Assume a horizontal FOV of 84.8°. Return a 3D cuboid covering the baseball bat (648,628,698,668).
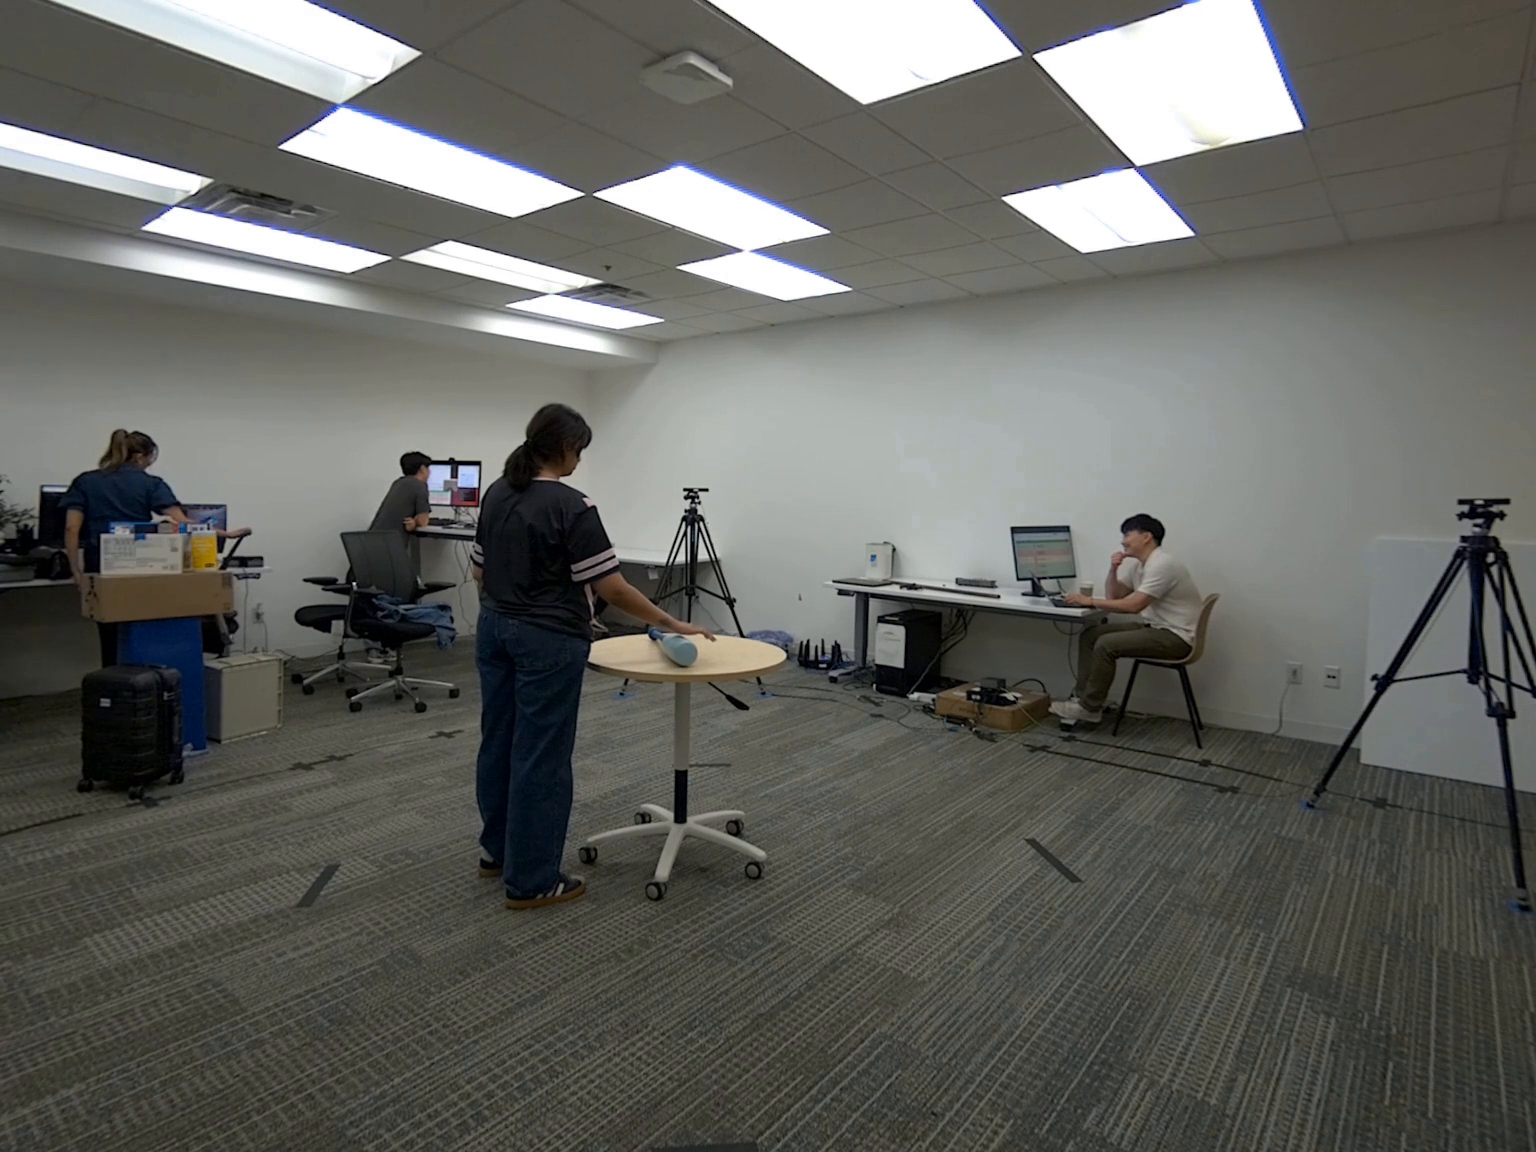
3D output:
[{"bbox_3d":[-0.378,0.246,3.122,0.087,0.089,0.554,0,4,-20],"label":"baseball bat"}]
